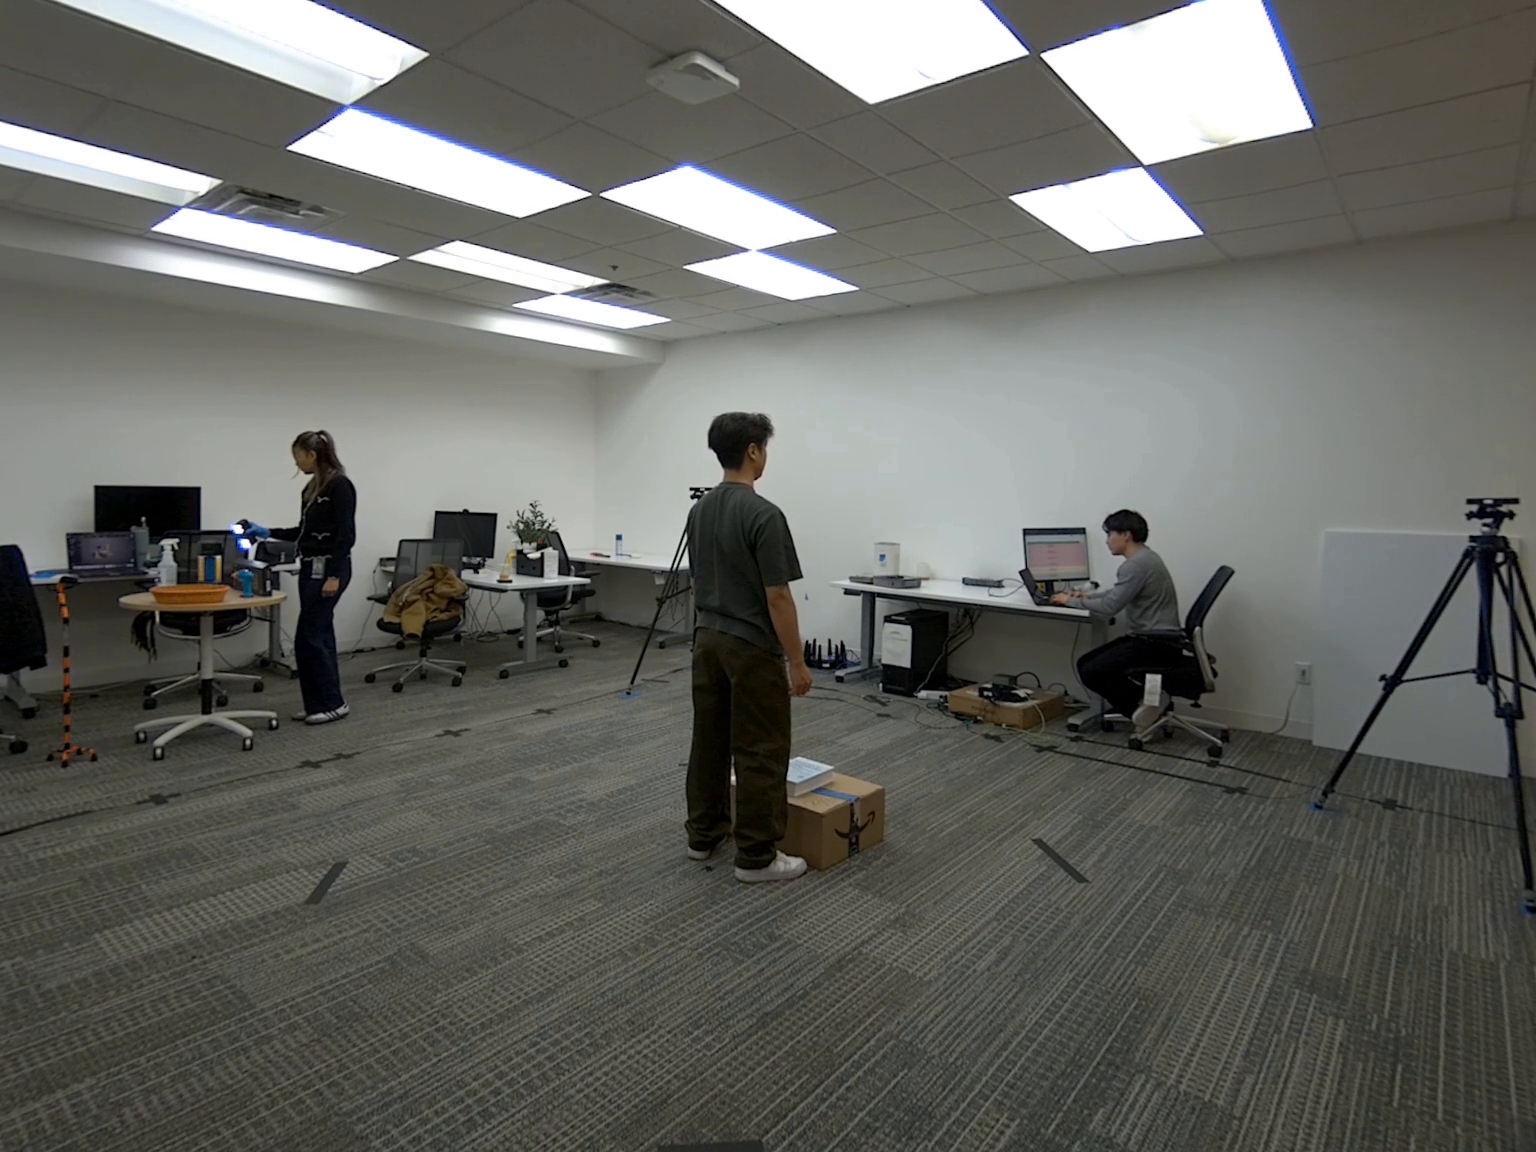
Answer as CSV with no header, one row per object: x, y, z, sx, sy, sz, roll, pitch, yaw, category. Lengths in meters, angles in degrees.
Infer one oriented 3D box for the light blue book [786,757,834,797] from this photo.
0.110,0.800,3.432,0.198,0.059,0.253,7,8,40,light blue book
